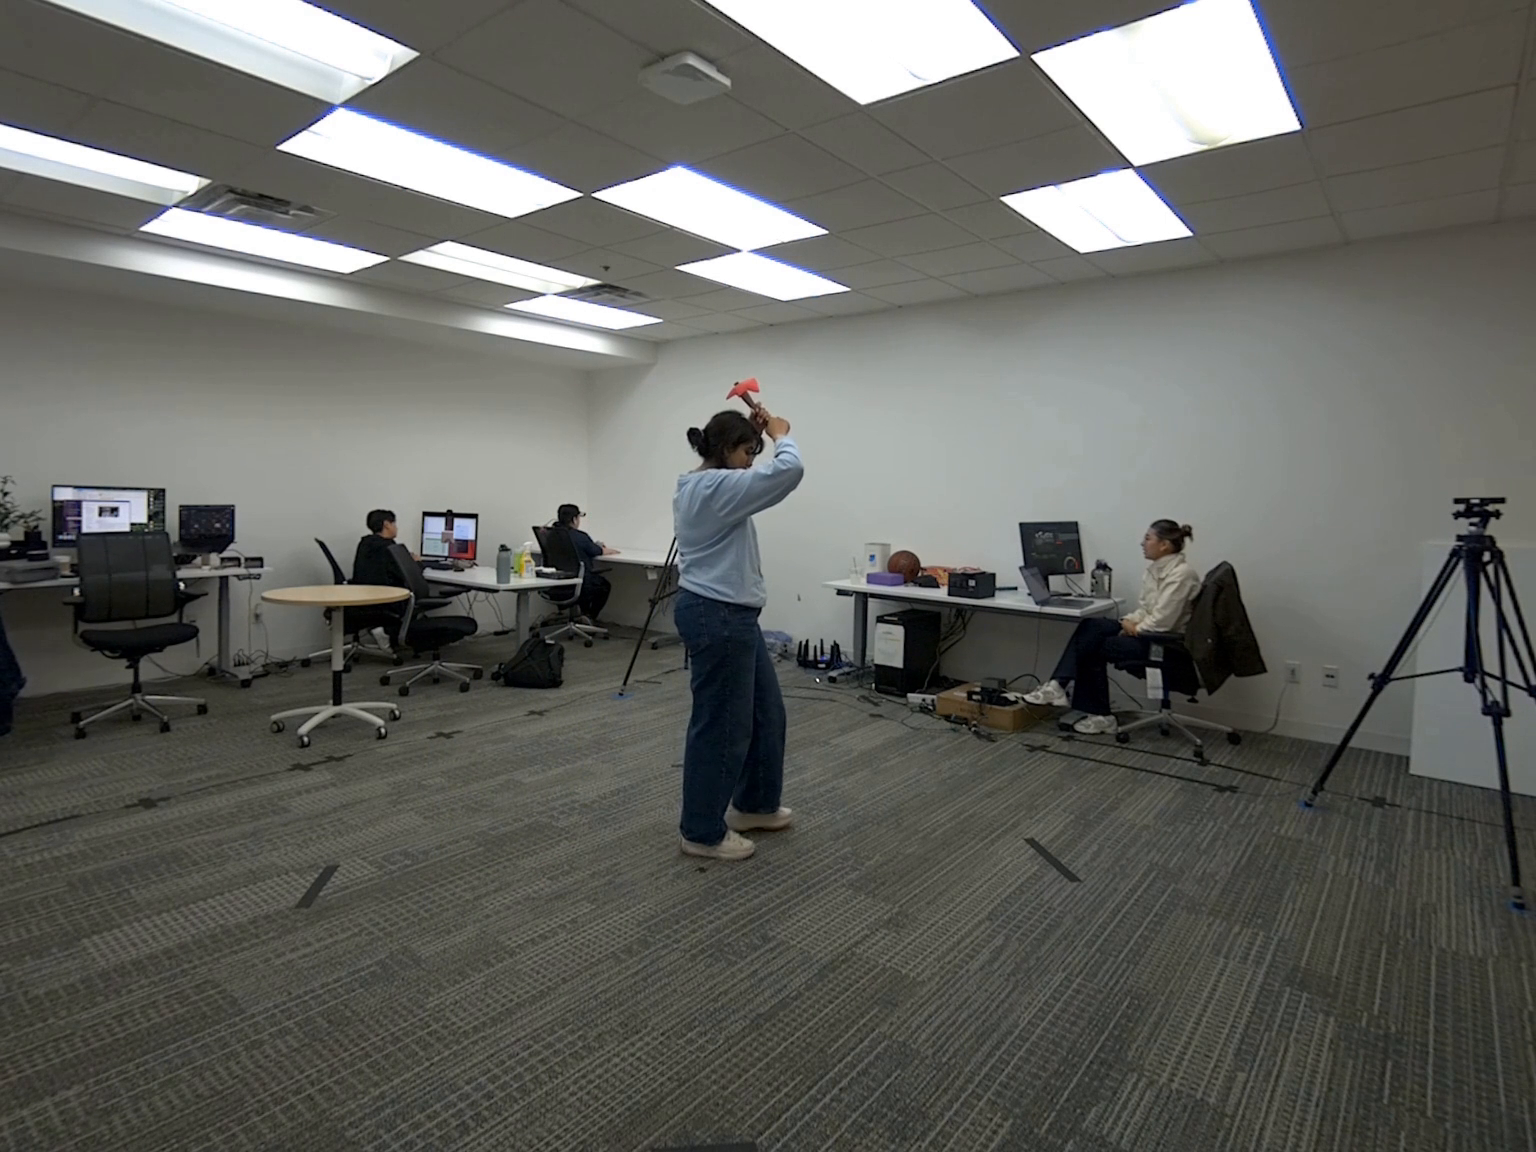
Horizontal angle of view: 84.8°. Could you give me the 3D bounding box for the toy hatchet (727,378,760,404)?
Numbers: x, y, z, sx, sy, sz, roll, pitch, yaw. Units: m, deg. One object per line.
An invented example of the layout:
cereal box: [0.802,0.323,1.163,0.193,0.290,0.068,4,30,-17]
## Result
toy hatchet: [-0.026,-0.661,3.239,0.272,0.131,0.029,34,-10,6]
